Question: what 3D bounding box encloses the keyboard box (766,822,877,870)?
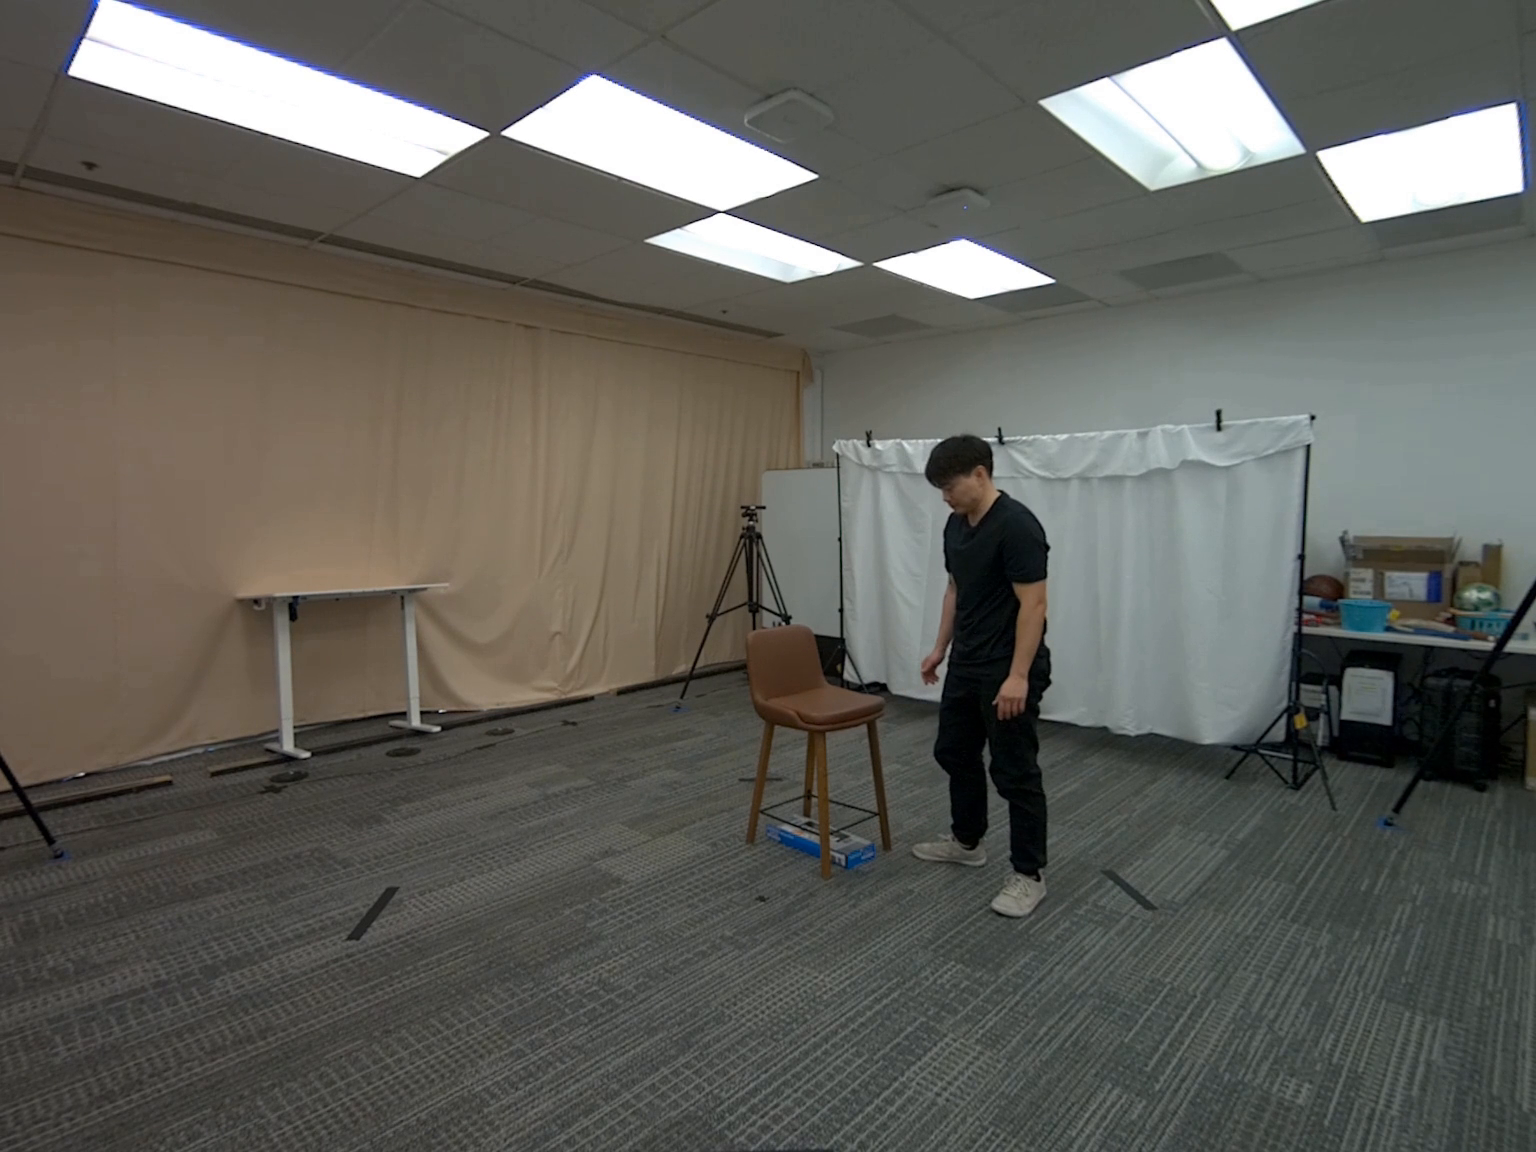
[{"bbox_3d":[0.215,1.085,3.440,0.170,0.059,0.451,-4,6,-43],"label":"keyboard box"}]
